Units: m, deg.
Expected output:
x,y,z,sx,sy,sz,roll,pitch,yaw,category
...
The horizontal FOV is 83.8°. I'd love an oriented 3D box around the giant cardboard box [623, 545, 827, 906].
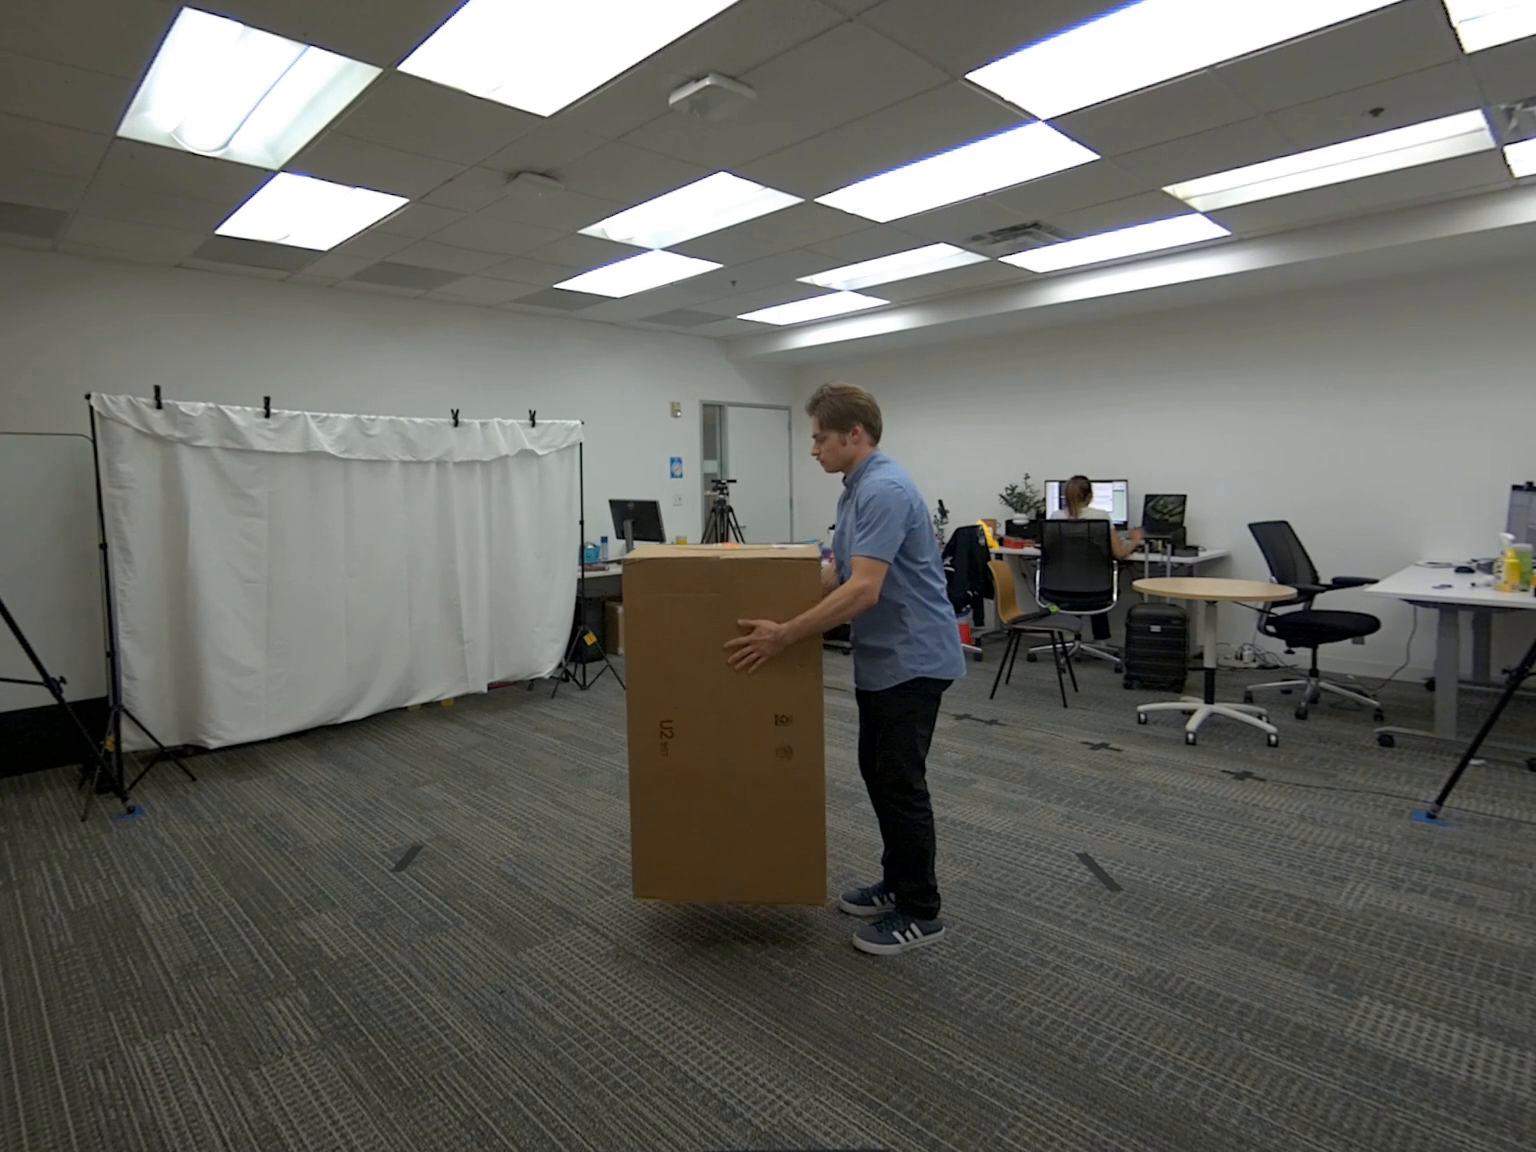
x,y,z,sx,sy,sz,roll,pitch,yaw,category
-0.115,0.430,2.658,0.587,1.023,0.447,-1,4,4,giant cardboard box
